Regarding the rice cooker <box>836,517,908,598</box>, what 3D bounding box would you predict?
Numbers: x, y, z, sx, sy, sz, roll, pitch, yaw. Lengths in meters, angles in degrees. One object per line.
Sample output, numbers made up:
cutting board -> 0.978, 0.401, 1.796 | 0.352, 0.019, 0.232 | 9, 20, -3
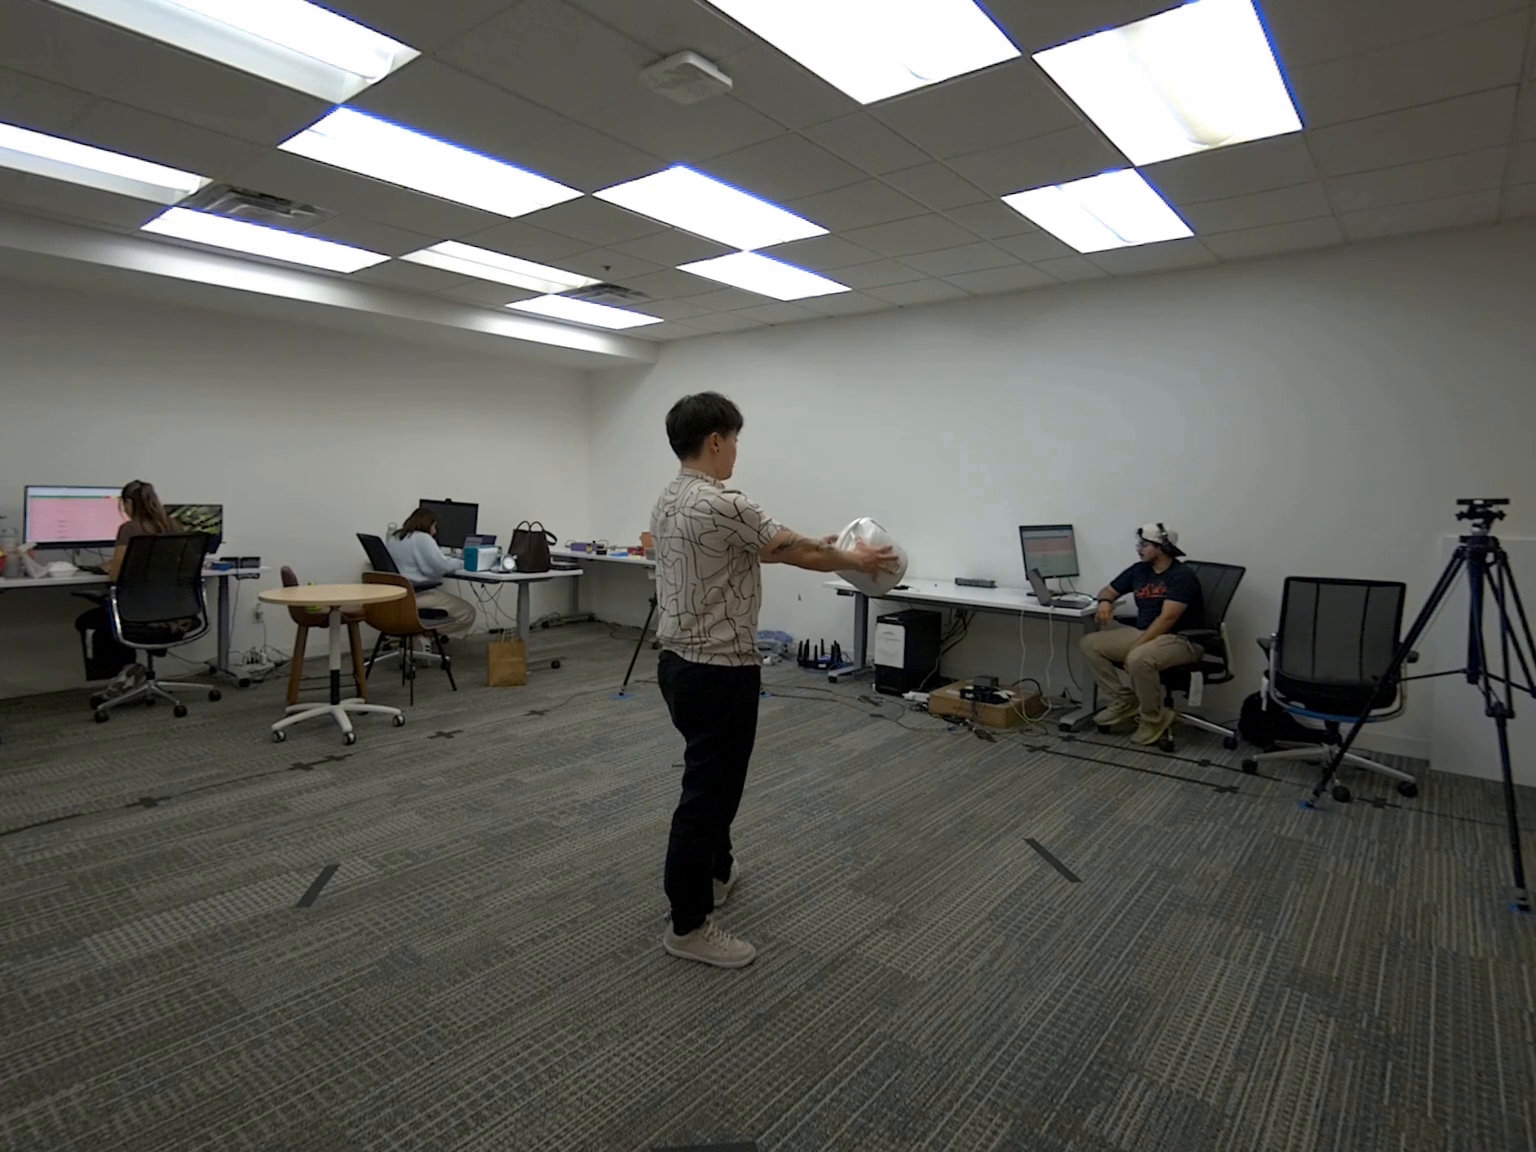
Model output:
rice cooker -> 0.317, -0.072, 2.817 | 0.226, 0.221, 0.223 | 35, -13, -23
